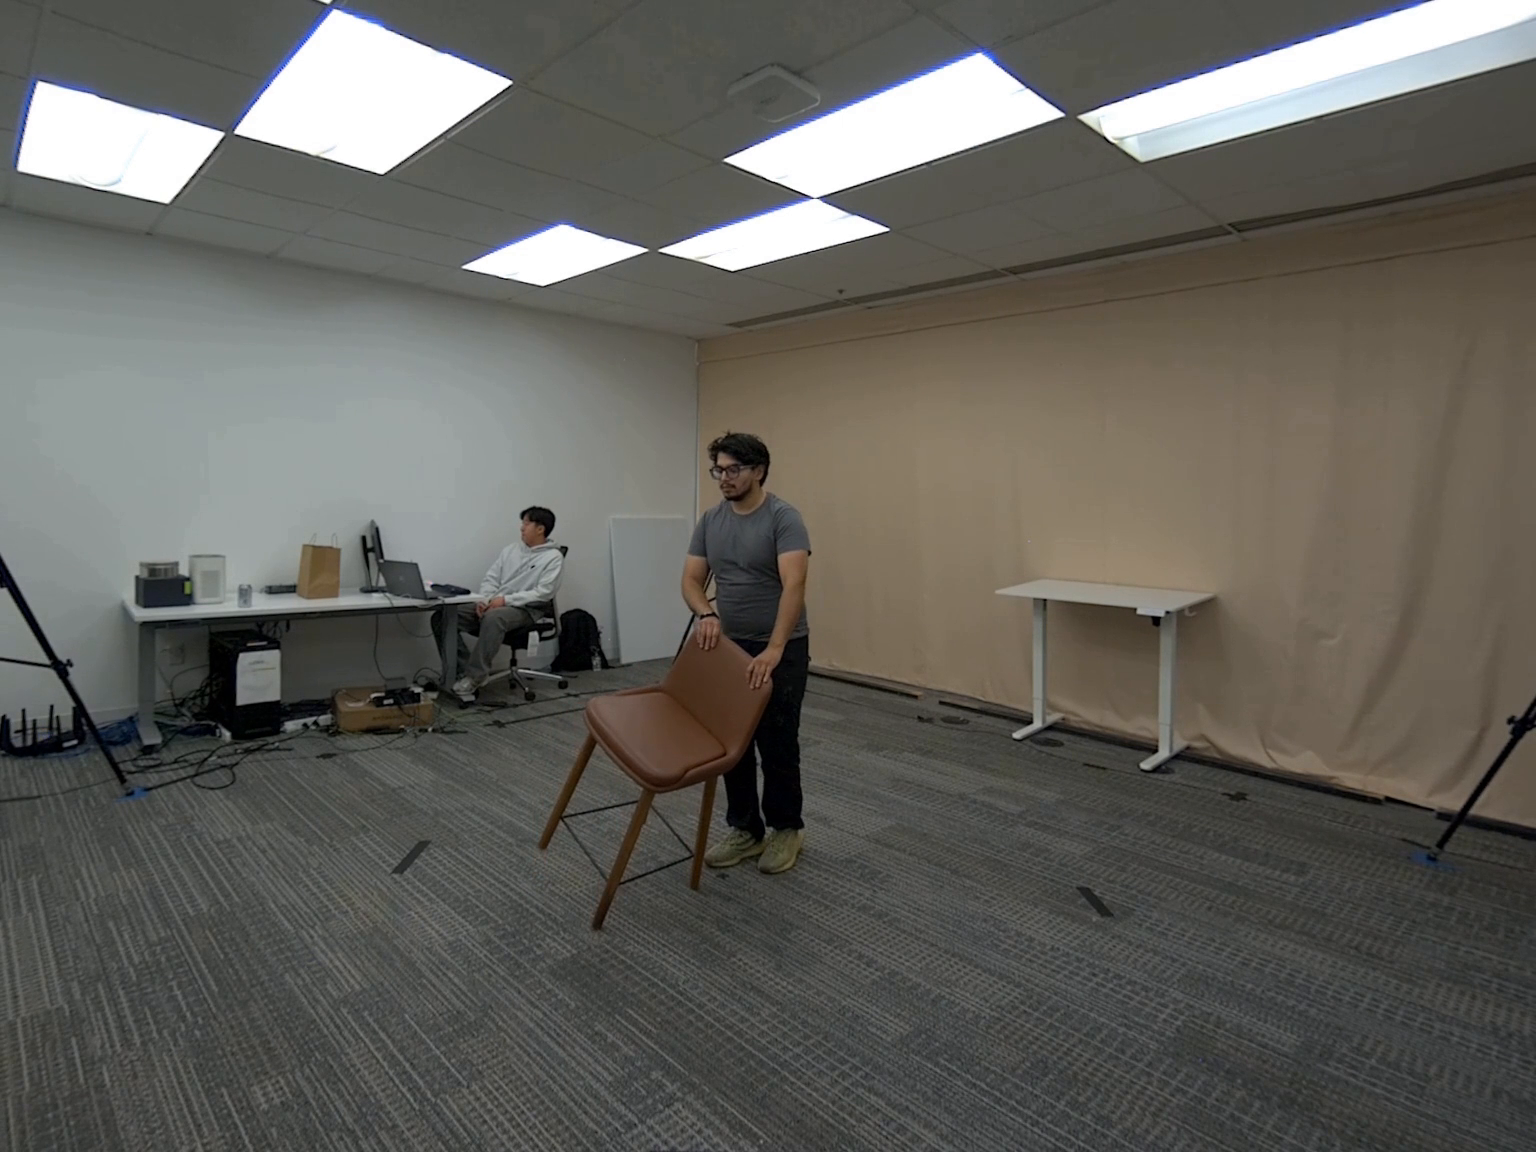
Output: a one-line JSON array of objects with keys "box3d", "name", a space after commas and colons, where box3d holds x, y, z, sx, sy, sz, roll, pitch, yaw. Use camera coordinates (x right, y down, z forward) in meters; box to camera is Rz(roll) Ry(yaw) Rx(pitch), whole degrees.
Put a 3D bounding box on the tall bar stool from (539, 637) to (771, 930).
[{"box3d": [-0.390, 0.656, 2.829, 0.456, 0.883, 0.471, 2, 25, -44], "name": "tall bar stool"}]
